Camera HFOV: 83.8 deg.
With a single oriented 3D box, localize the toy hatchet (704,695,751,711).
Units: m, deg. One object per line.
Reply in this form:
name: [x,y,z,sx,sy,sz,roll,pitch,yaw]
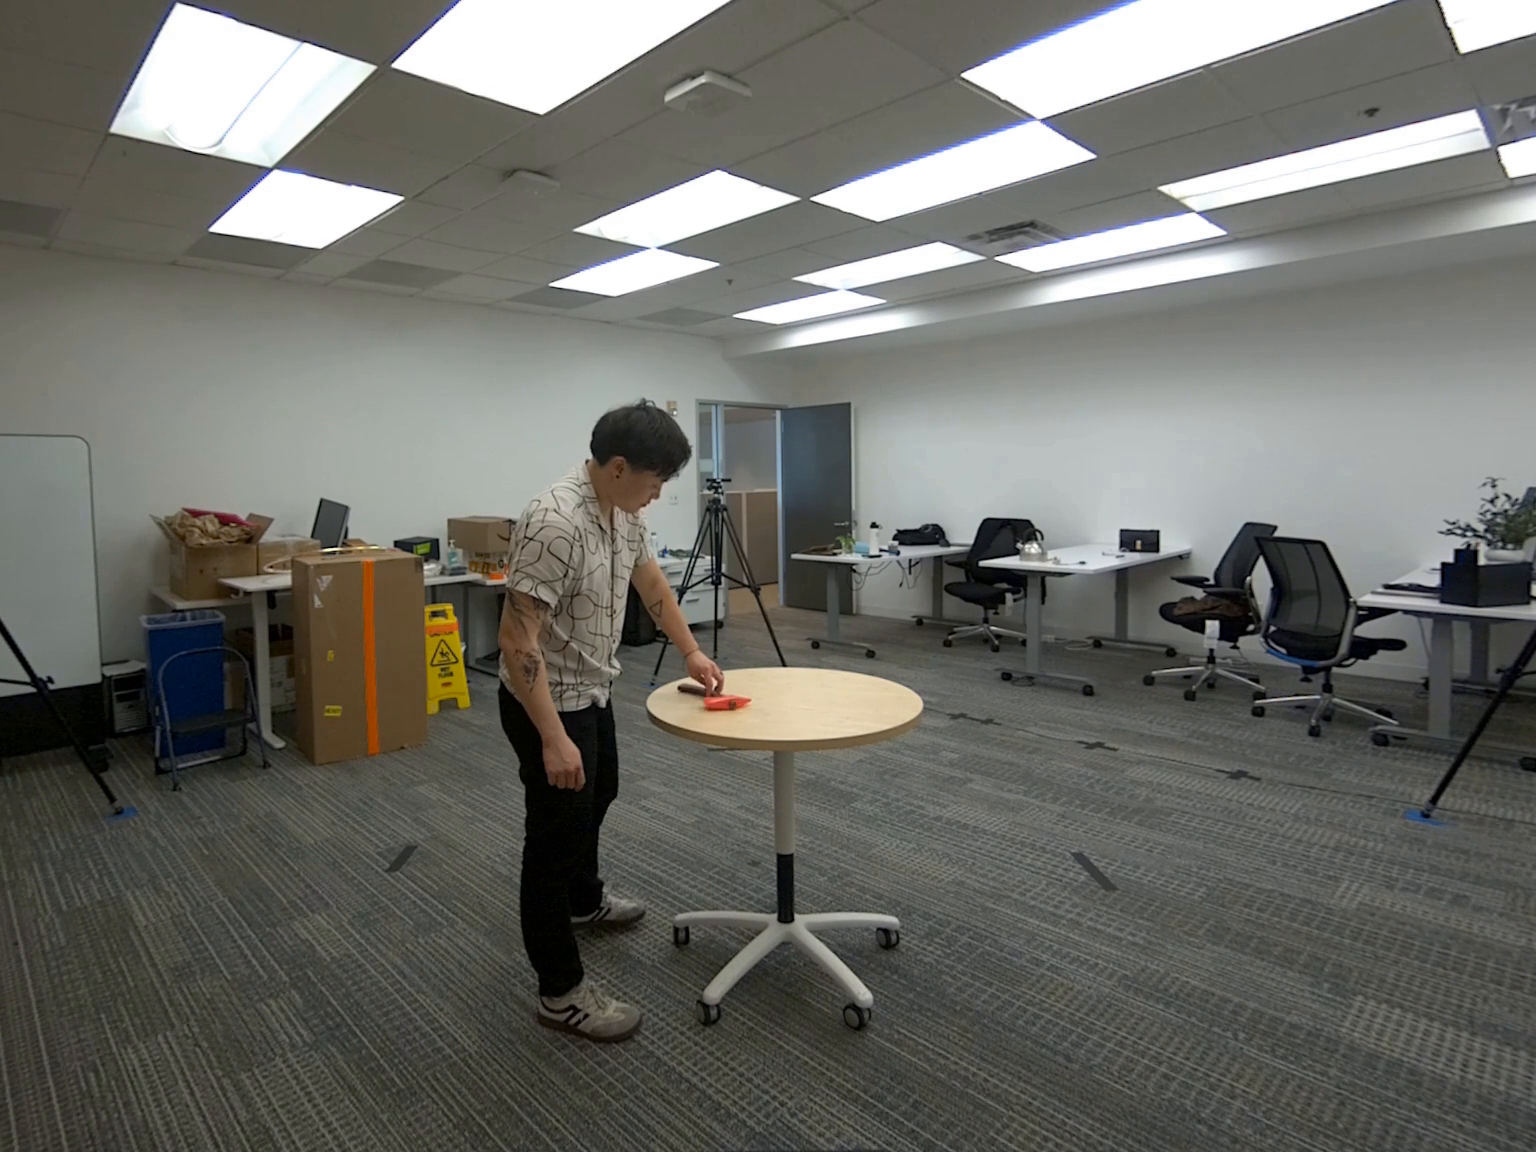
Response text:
toy hatchet: [-0.178,0.334,2.377,0.127,0.029,0.278,-4,6,-44]
